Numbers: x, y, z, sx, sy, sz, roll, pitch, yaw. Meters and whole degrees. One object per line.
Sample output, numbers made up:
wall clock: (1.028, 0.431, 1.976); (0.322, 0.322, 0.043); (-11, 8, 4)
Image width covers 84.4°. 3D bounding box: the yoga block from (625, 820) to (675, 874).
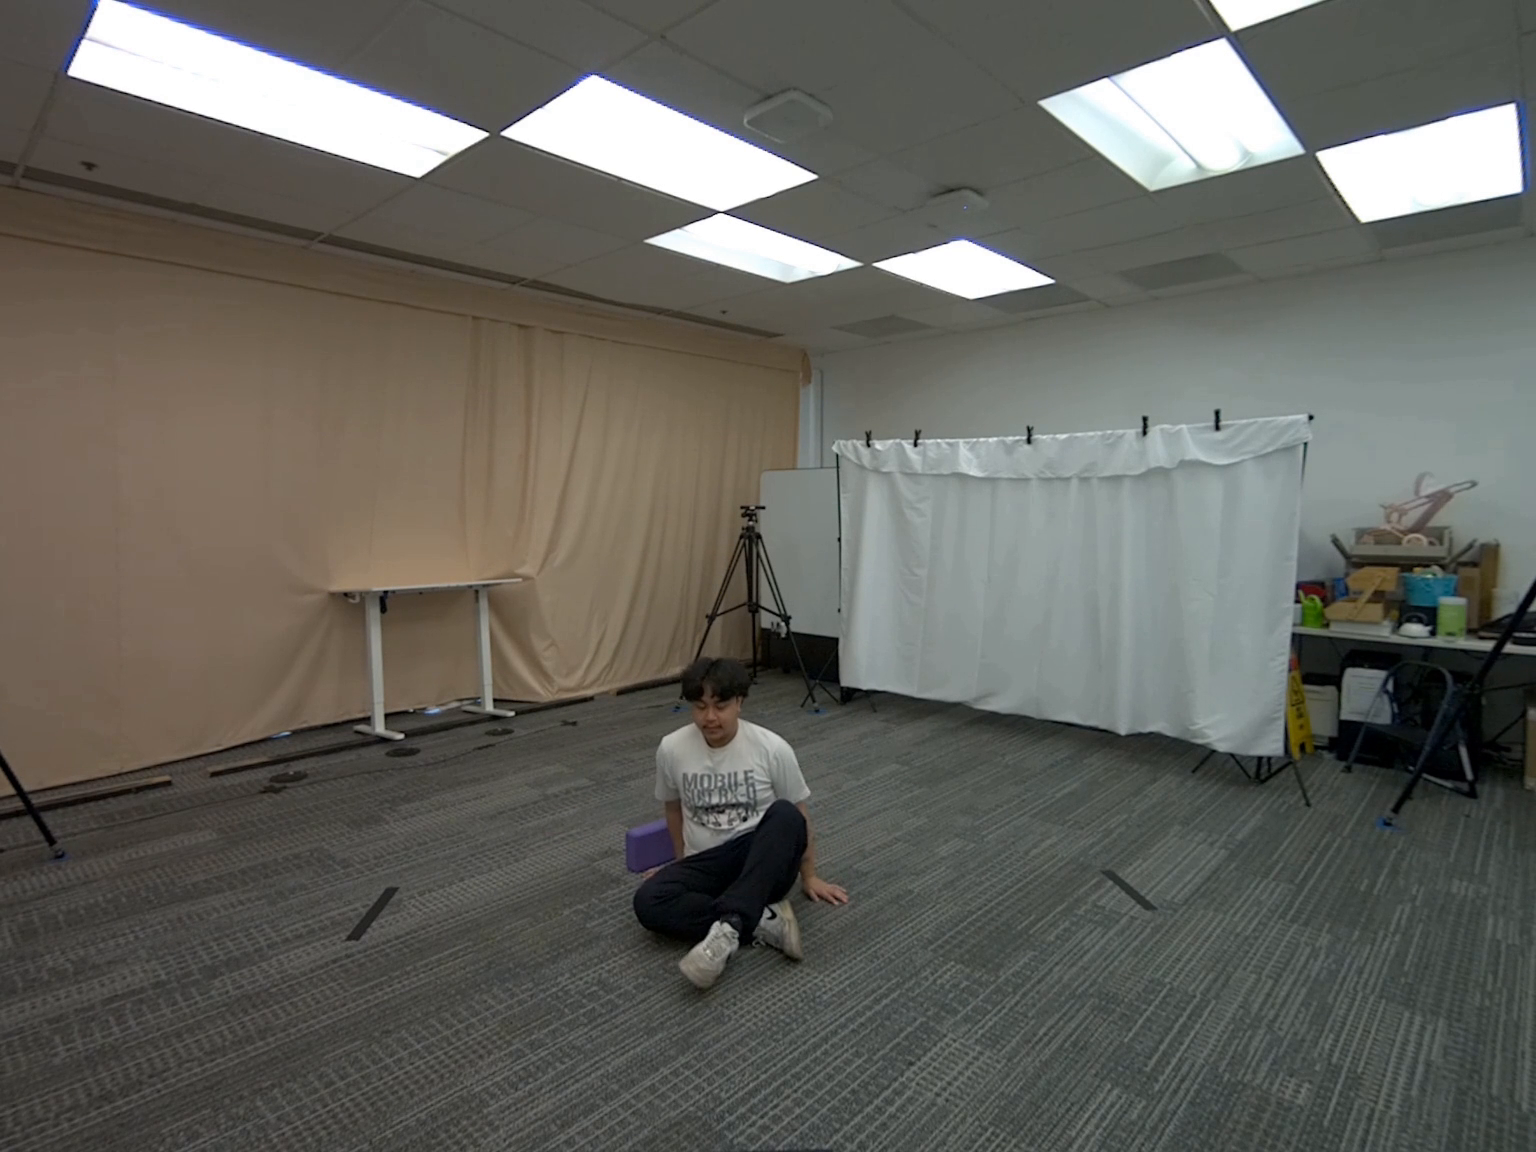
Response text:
yoga block: (-0.446, 1.046, 3.290); (0.223, 0.149, 0.079); (-5, 4, -37)
